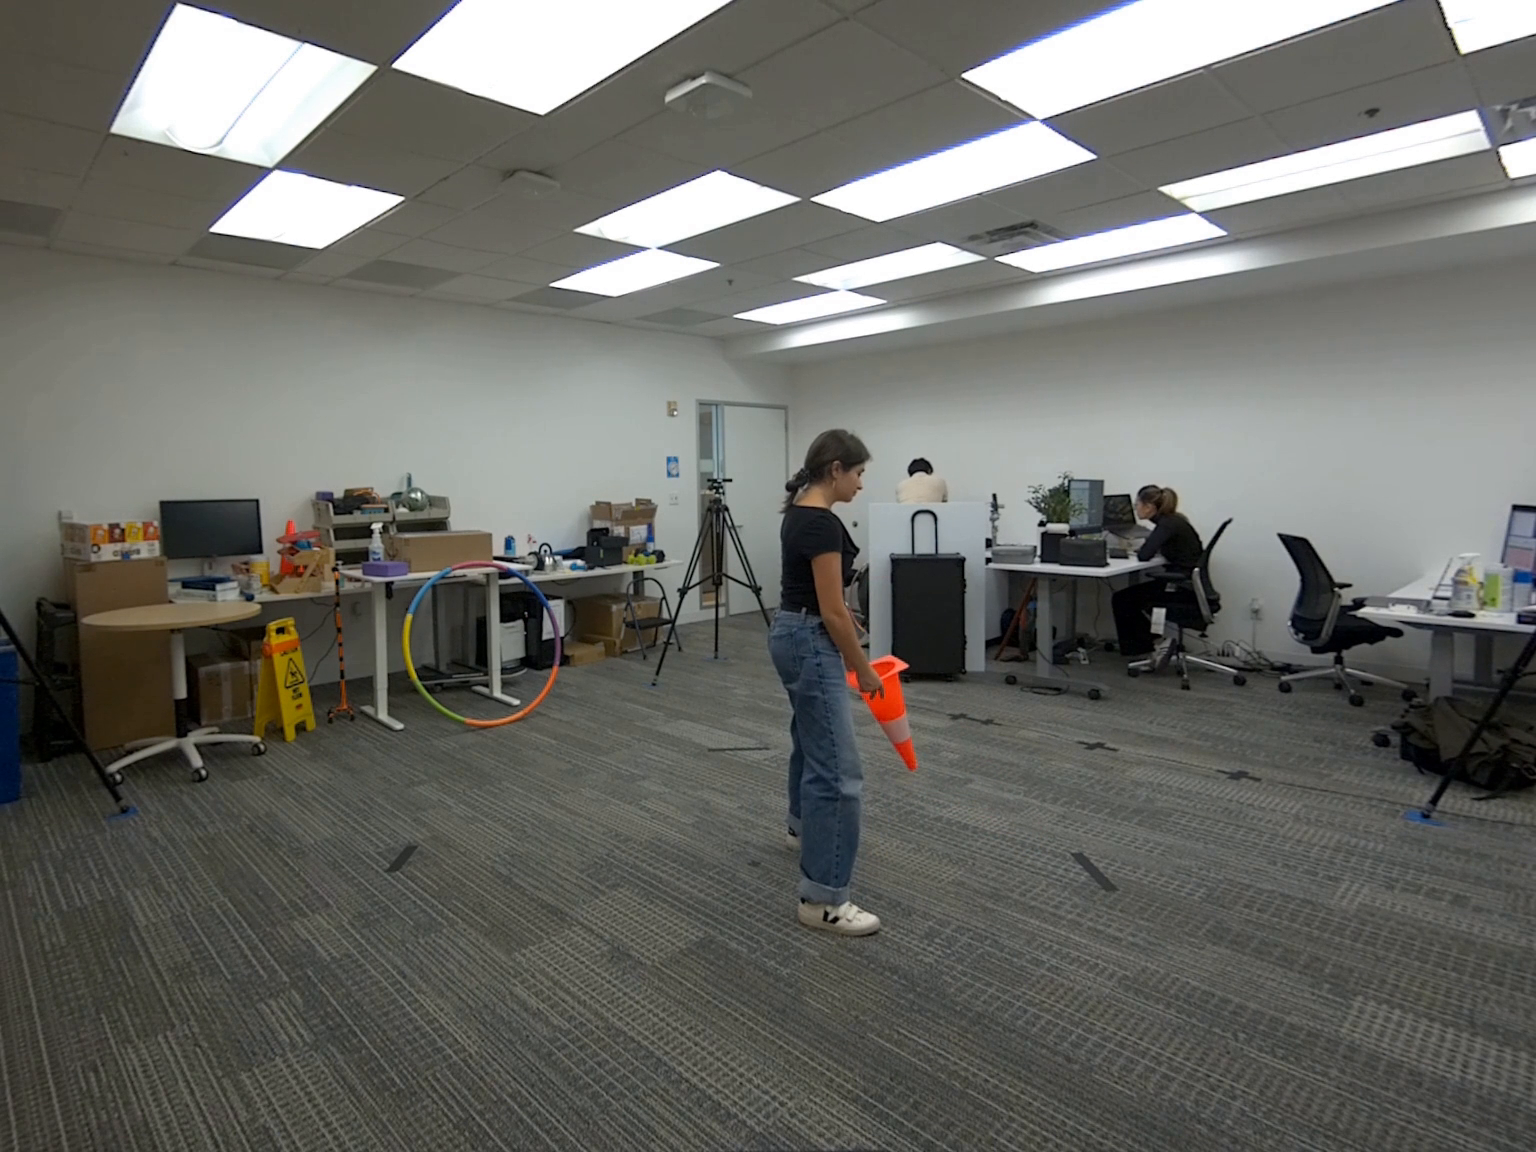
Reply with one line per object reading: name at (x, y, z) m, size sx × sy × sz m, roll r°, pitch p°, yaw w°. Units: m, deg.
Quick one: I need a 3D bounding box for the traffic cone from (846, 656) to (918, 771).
traffic cone at (0.442, 0.502, 2.953) m, size 0.203 × 0.379 × 0.207 m, roll -27°, pitch 11°, yaw -17°
